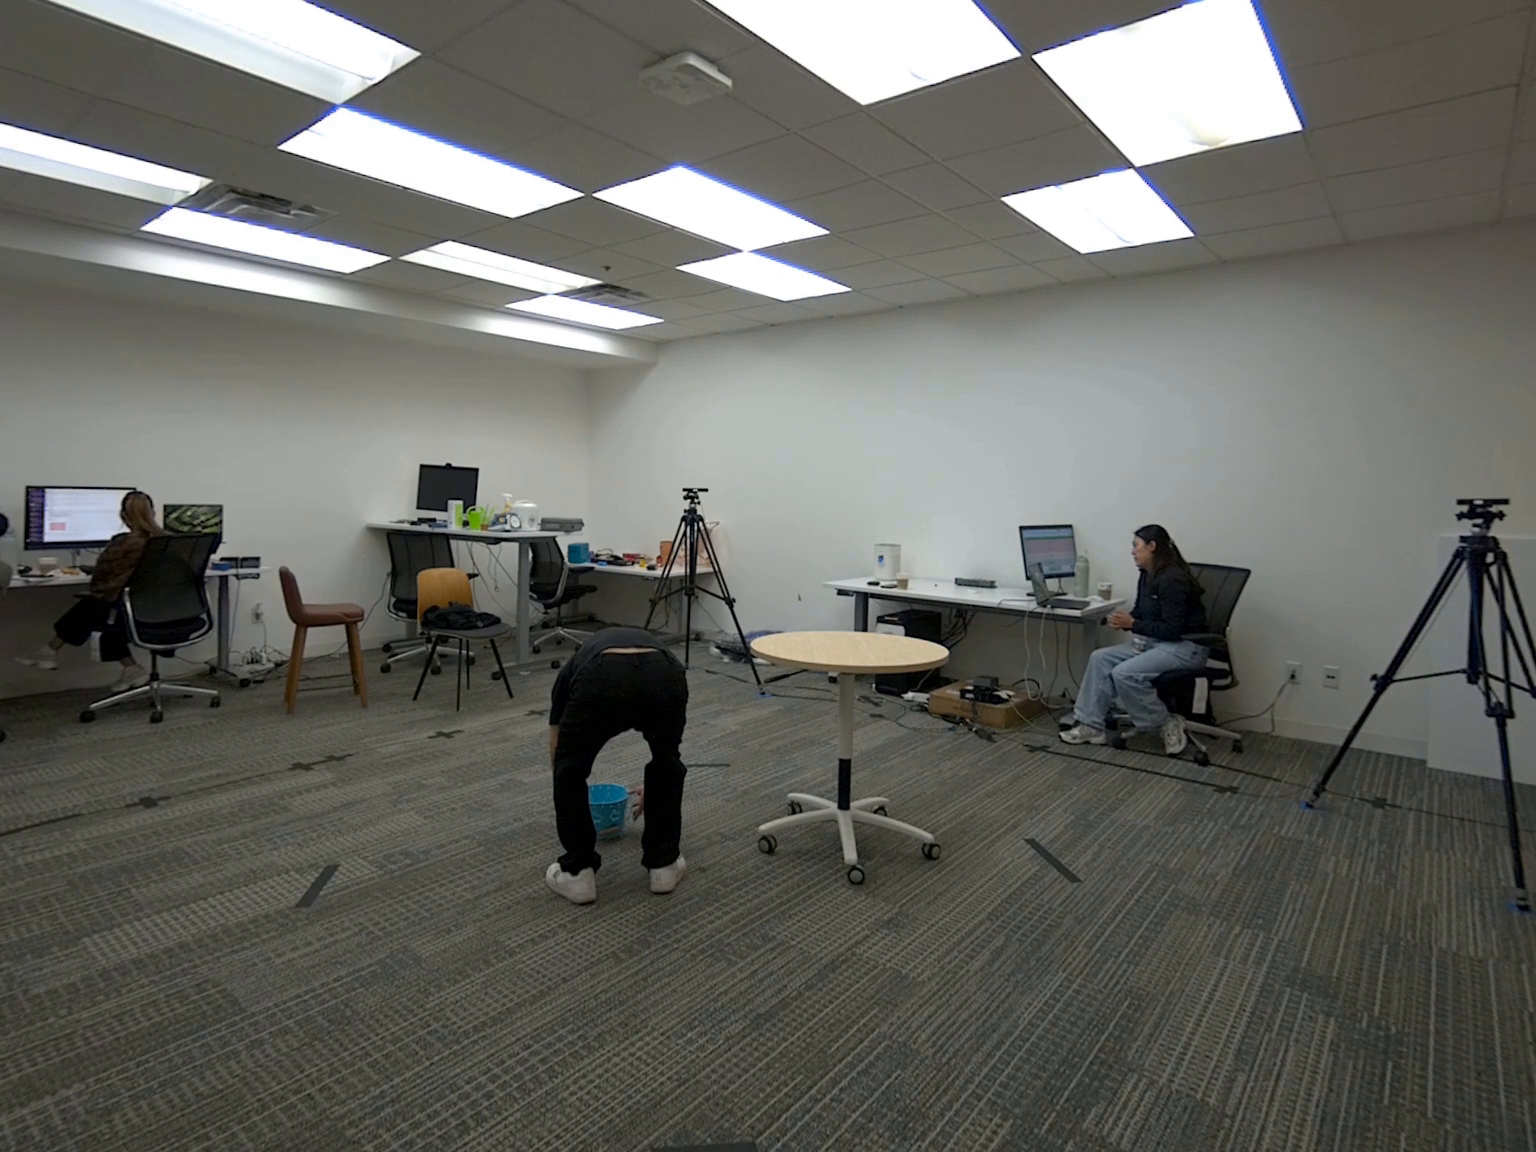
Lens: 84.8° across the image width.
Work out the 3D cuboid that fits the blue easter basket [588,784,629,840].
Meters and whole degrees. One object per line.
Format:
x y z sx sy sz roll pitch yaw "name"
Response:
-0.692 0.953 3.451 0.243 0.155 0.244 1 3 -2 "blue easter basket"
